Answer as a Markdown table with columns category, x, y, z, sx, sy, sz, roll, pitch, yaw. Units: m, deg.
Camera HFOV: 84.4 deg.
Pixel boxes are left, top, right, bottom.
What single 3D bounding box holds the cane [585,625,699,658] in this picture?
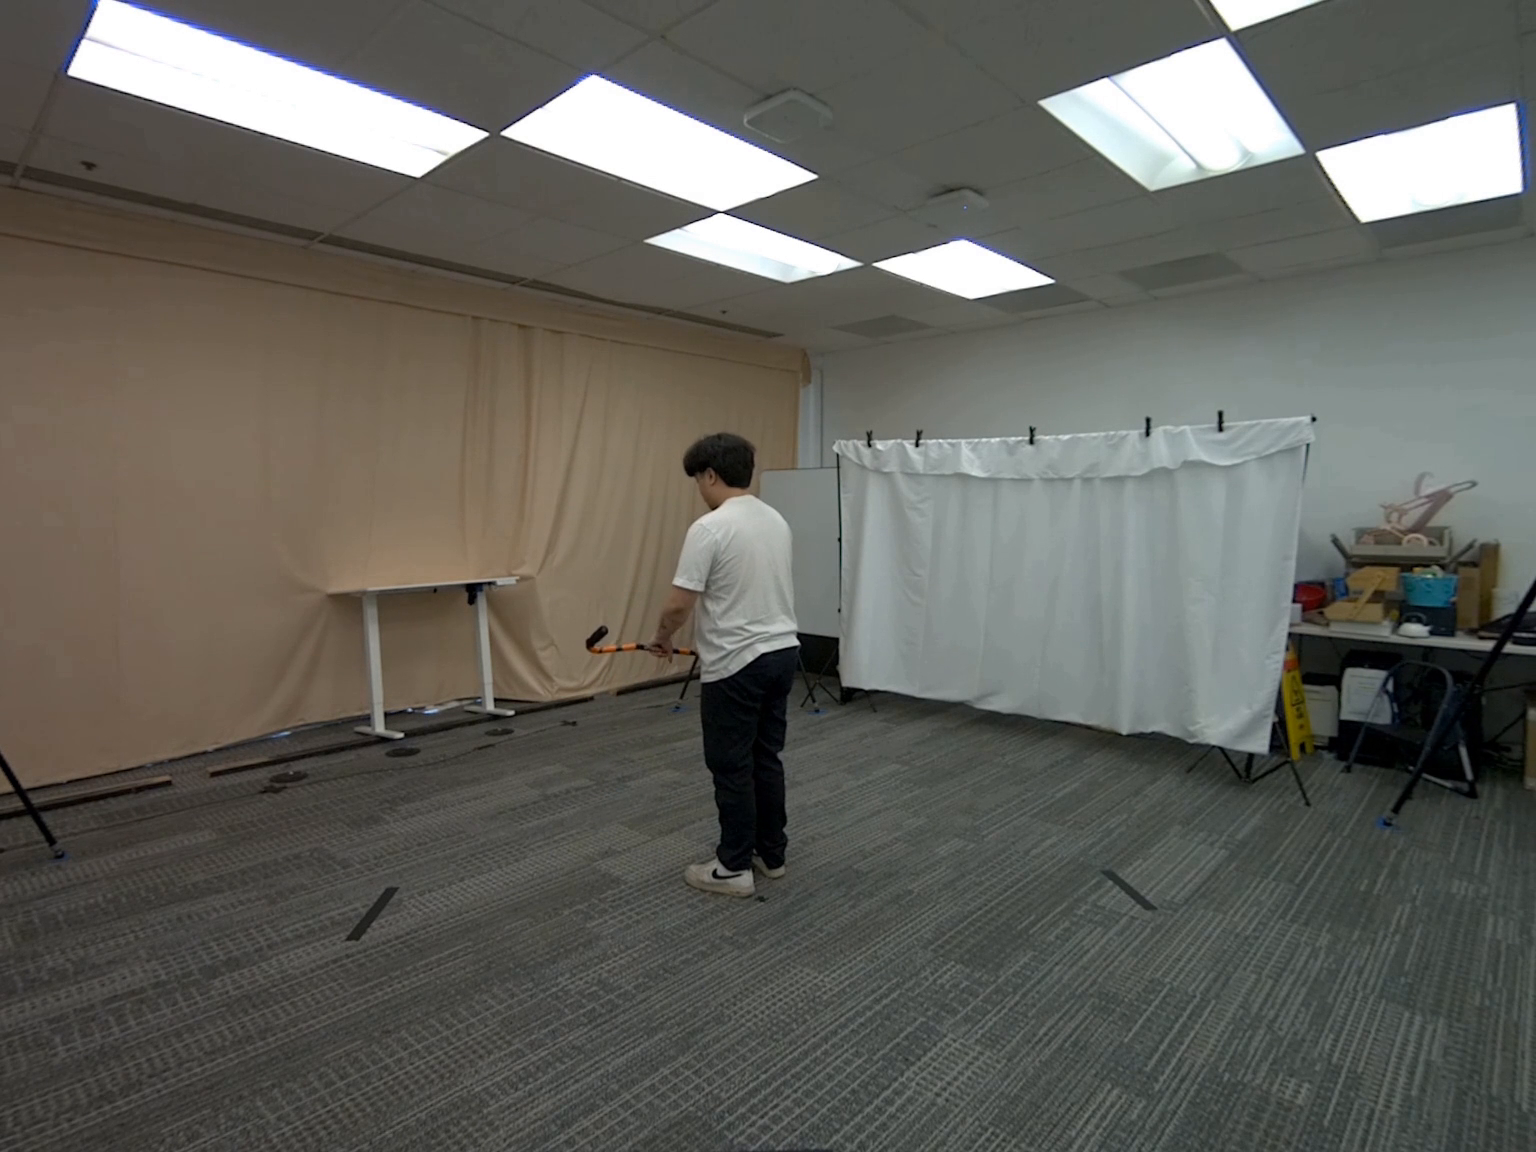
| category | x | y | z | sx | sy | sz | roll | pitch | yaw |
| --- | --- | --- | --- | --- | --- | --- | --- | --- | --- |
| cane | -0.318 | 0.294 | 3.286 | 0.878 | 0.155 | 0.209 | 11 | -37 | -37 |
